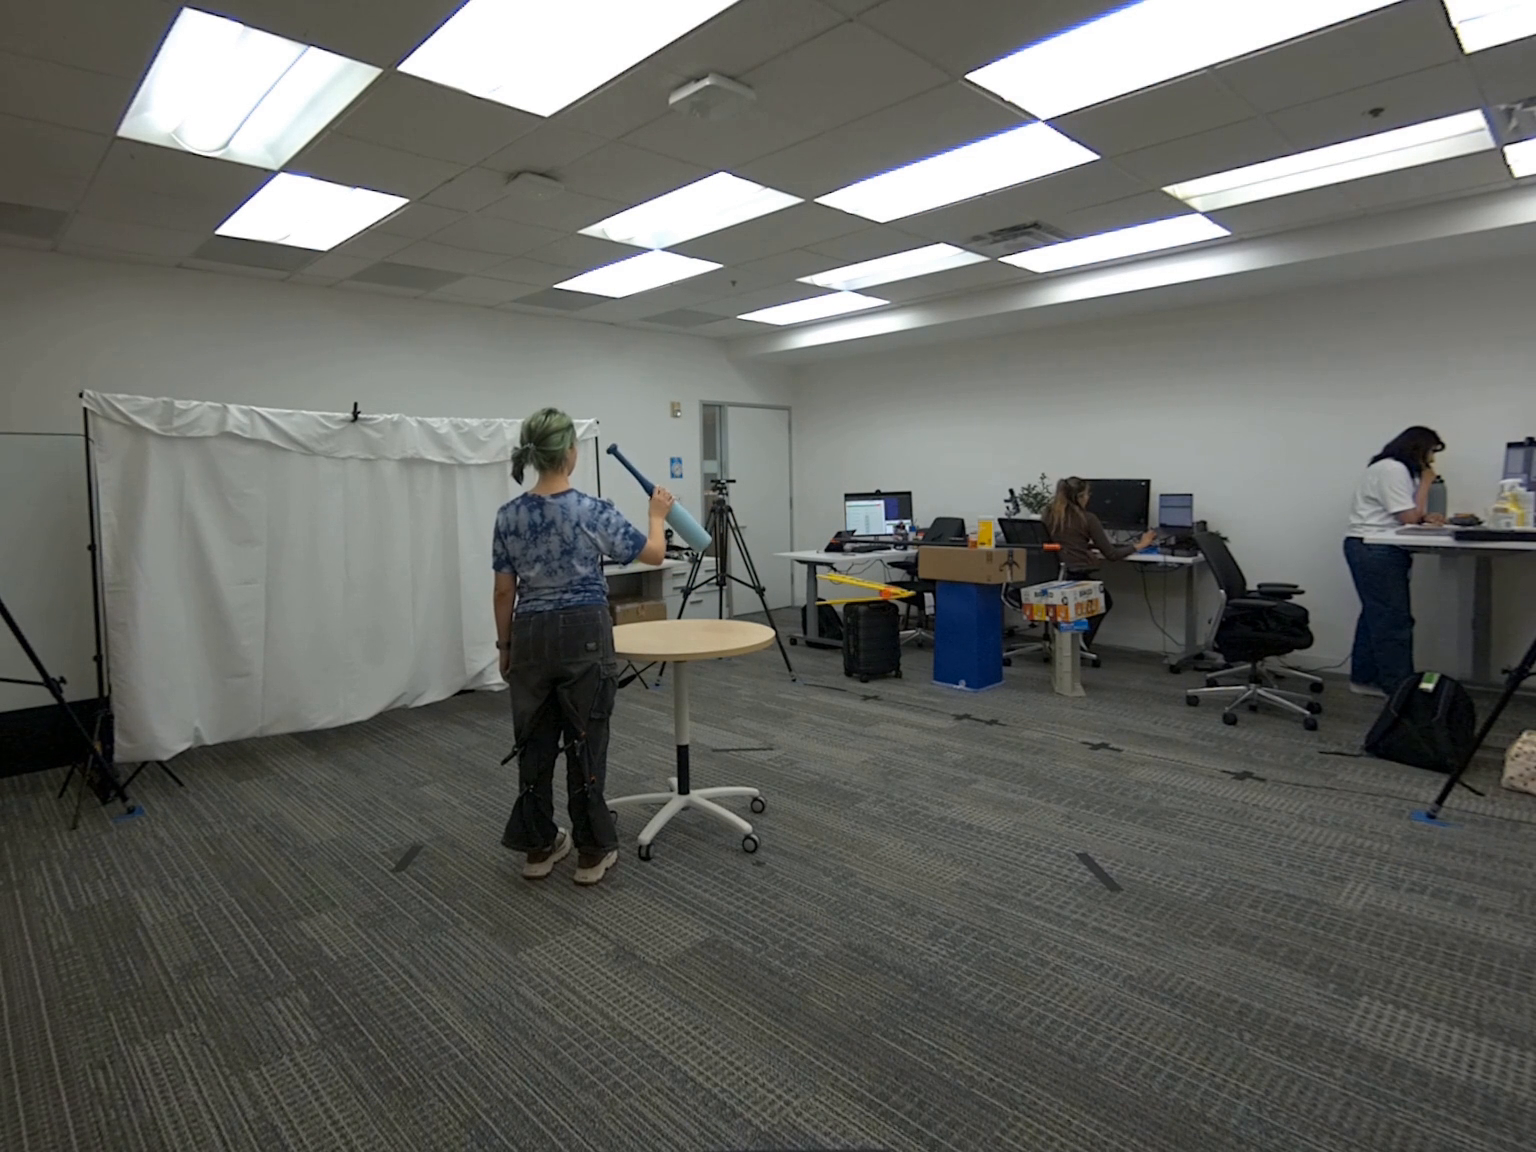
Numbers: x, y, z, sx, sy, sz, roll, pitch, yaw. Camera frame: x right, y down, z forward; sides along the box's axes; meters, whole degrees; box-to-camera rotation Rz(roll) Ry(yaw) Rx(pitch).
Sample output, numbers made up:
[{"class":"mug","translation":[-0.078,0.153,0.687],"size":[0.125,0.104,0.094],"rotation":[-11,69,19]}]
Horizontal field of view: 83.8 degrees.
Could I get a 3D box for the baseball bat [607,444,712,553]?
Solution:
[{"class":"baseball bat","translation":[-0.433,-0.307,3.325],"size":[0.089,0.533,0.090],"rotation":[-40,14,12]}]
